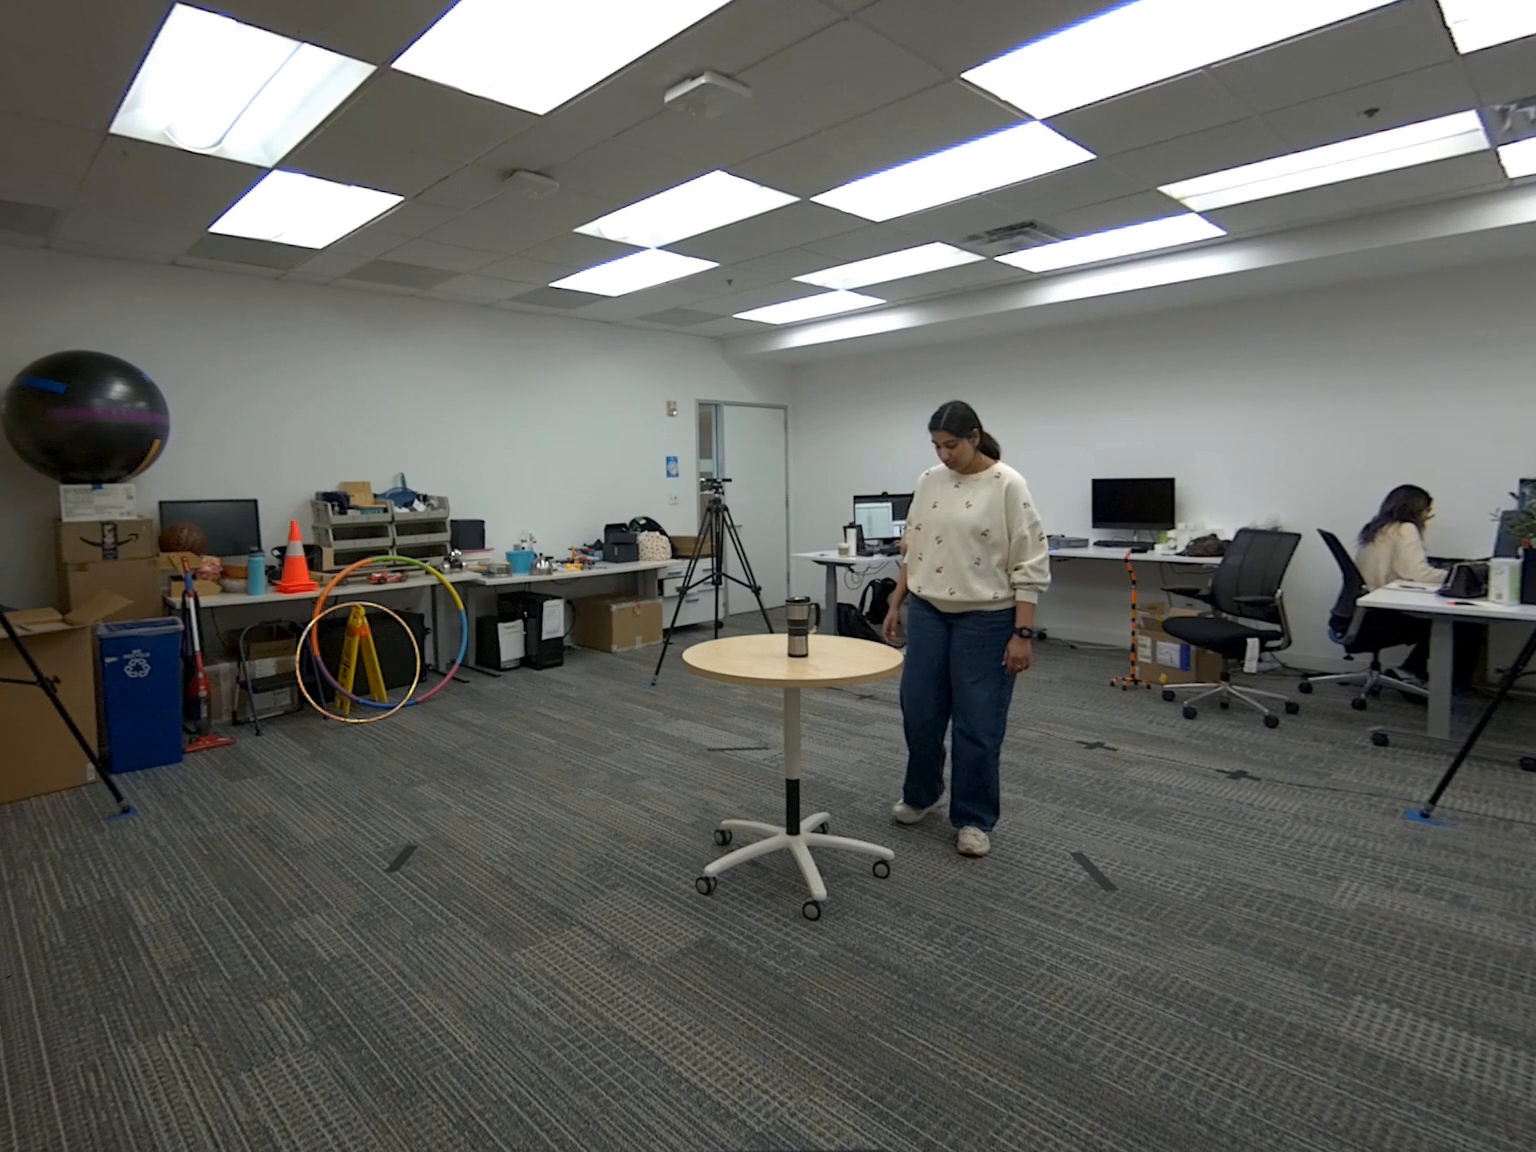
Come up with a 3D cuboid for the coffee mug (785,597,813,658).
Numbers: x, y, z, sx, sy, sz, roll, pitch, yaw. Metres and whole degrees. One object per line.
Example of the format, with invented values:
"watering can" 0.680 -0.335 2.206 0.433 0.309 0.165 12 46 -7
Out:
"coffee mug" 0.126 0.177 2.936 0.124 0.203 0.086 -2 2 20
